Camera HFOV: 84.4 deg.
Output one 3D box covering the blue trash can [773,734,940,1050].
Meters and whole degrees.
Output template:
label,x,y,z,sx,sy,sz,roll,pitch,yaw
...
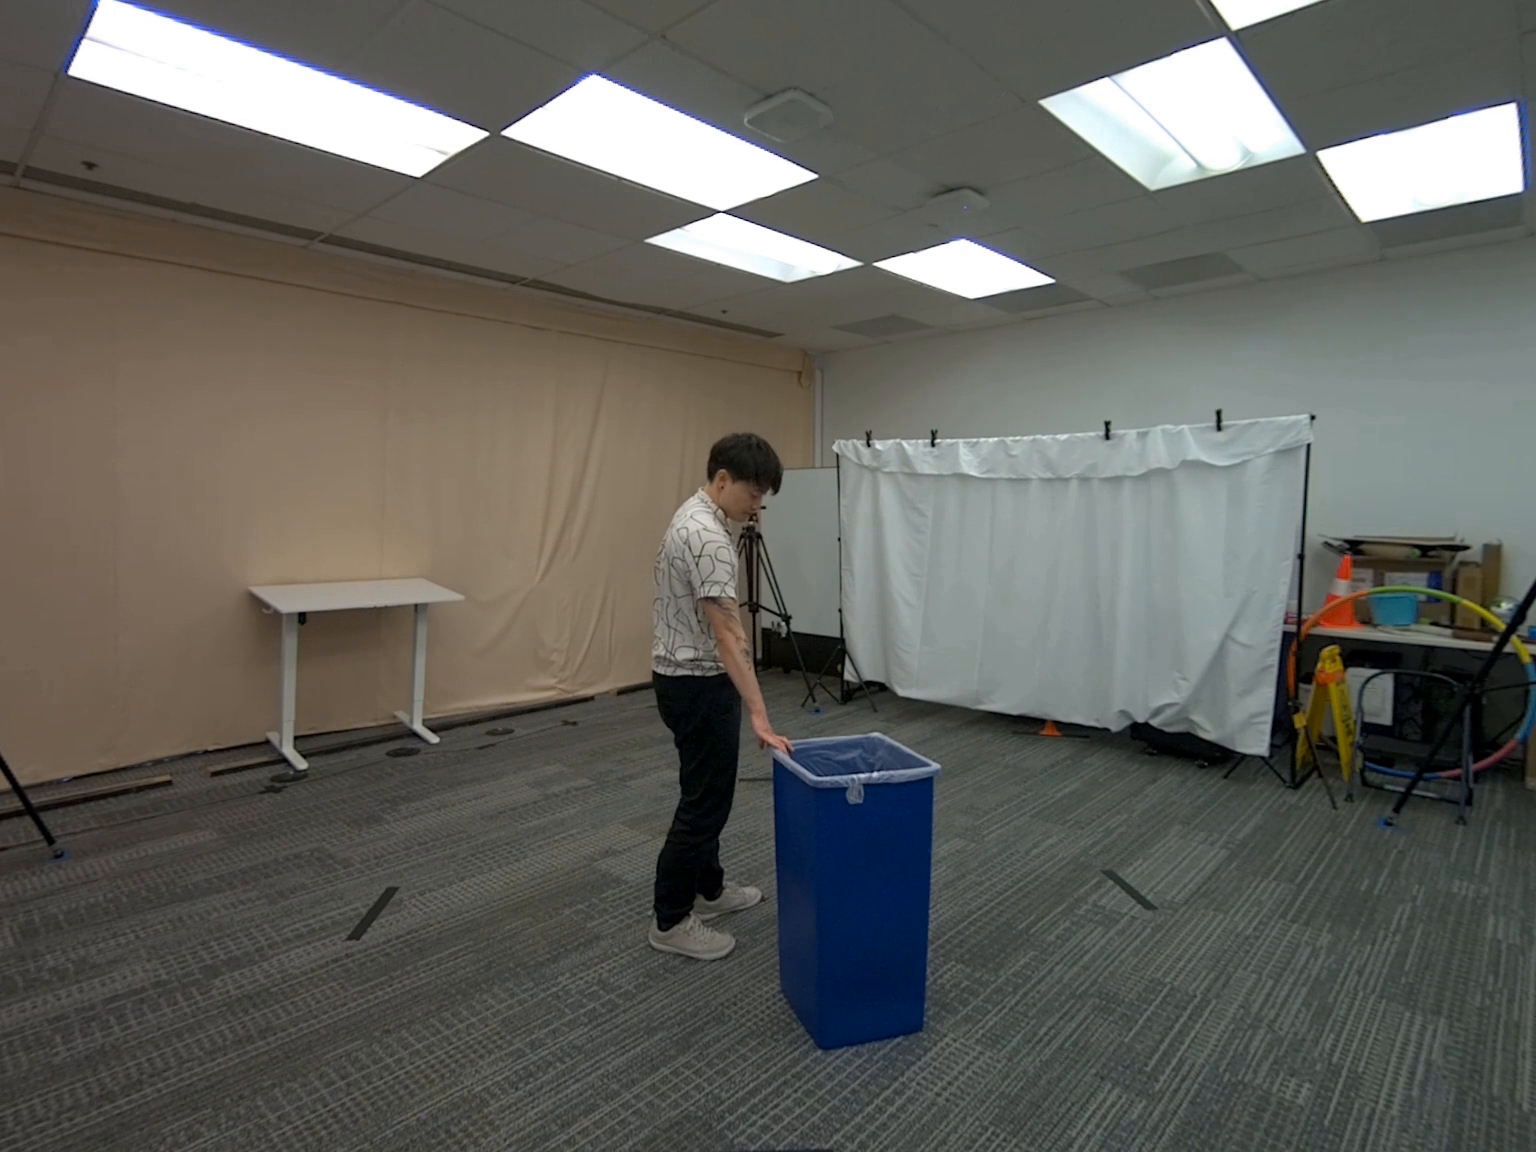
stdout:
label,x,y,z,sx,sy,sz,roll,pitch,yaw
blue trash can,0.226,0.842,2.317,0.371,0.712,0.382,-1,3,-19
